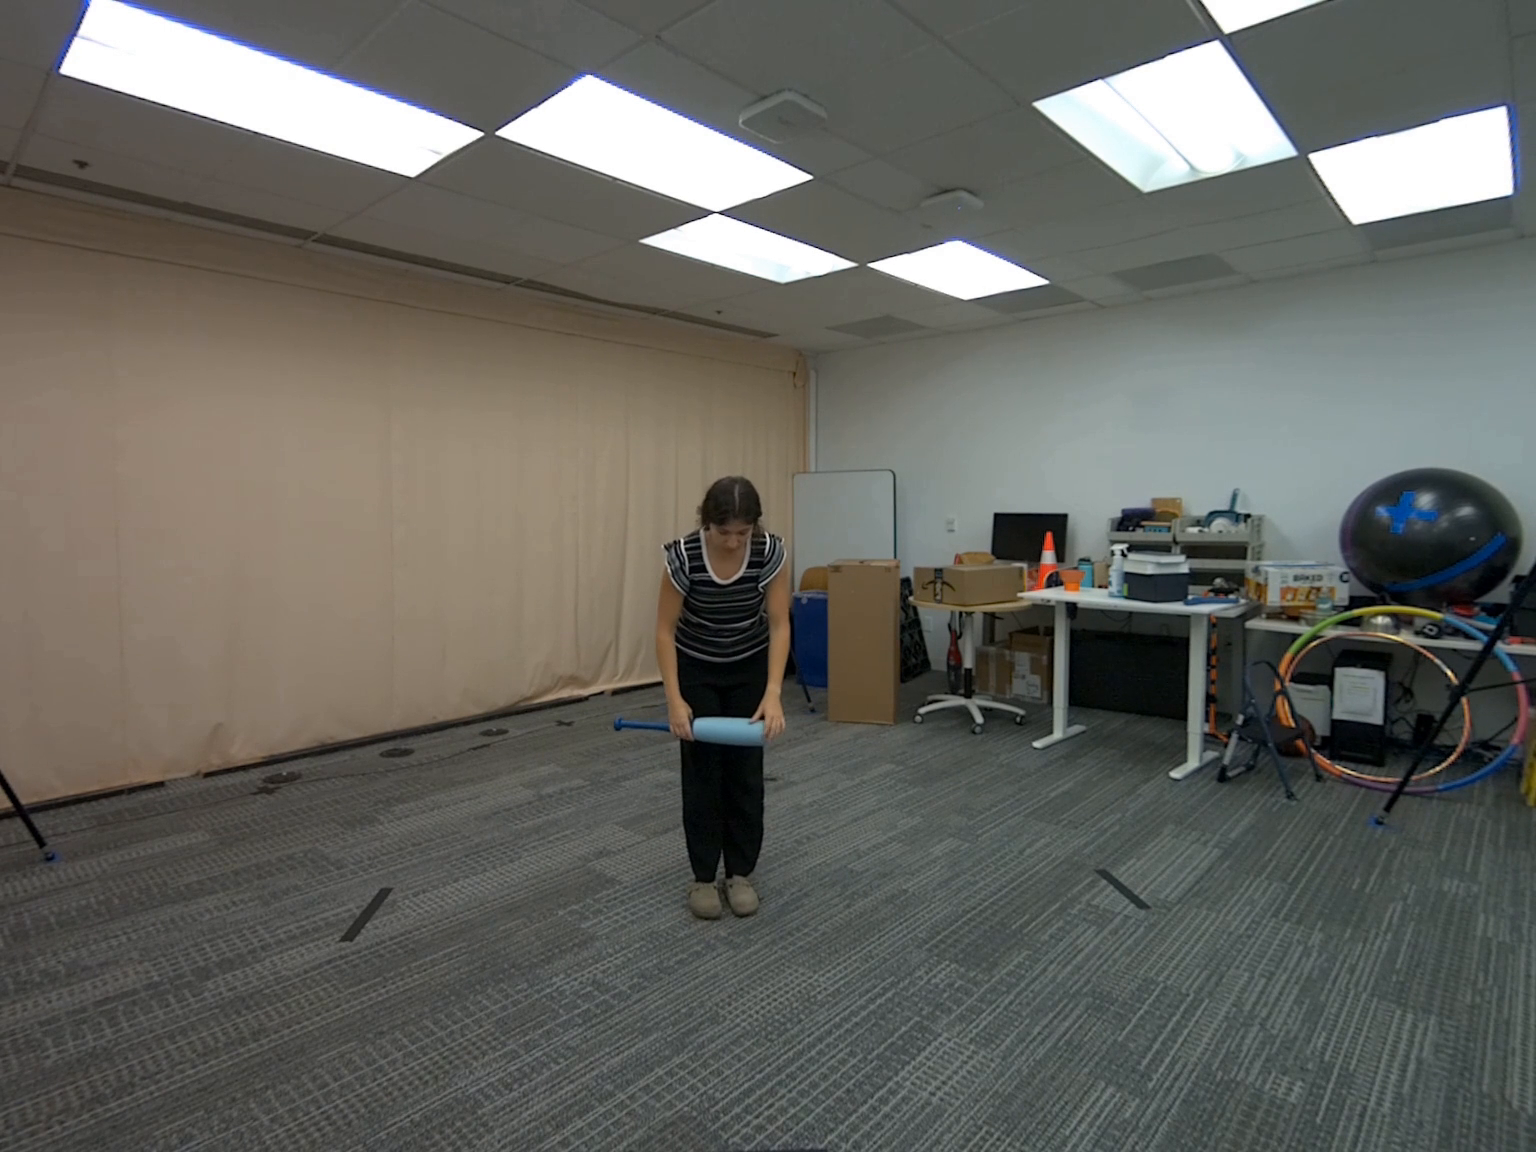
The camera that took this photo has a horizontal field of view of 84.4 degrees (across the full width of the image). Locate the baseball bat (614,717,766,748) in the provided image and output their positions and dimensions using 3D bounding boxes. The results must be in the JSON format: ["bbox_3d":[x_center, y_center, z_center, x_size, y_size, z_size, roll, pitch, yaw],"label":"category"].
[{"bbox_3d":[-0.261,0.518,2.851,0.552,0.089,0.088,1,4,15],"label":"baseball bat"}]
